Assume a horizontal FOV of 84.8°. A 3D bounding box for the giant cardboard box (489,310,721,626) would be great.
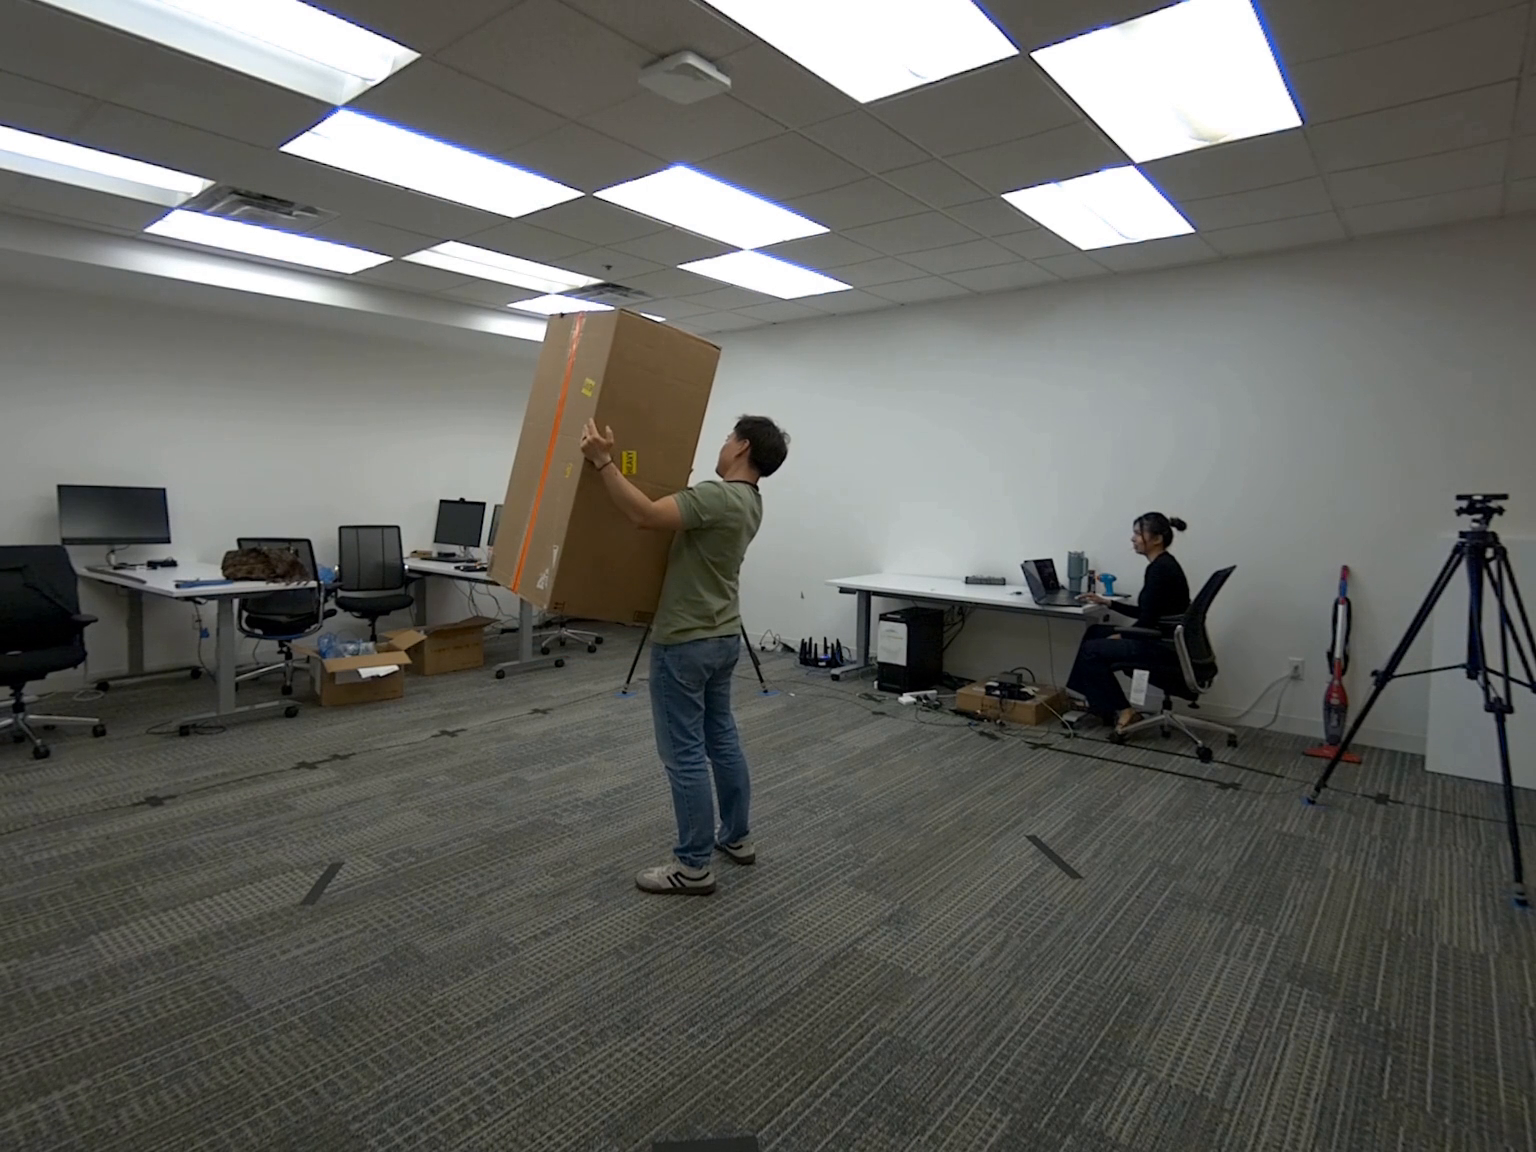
[{"bbox_3d":[-0.629,-0.402,3.108,0.411,1.024,0.599,12,3,-38],"label":"giant cardboard box"}]
